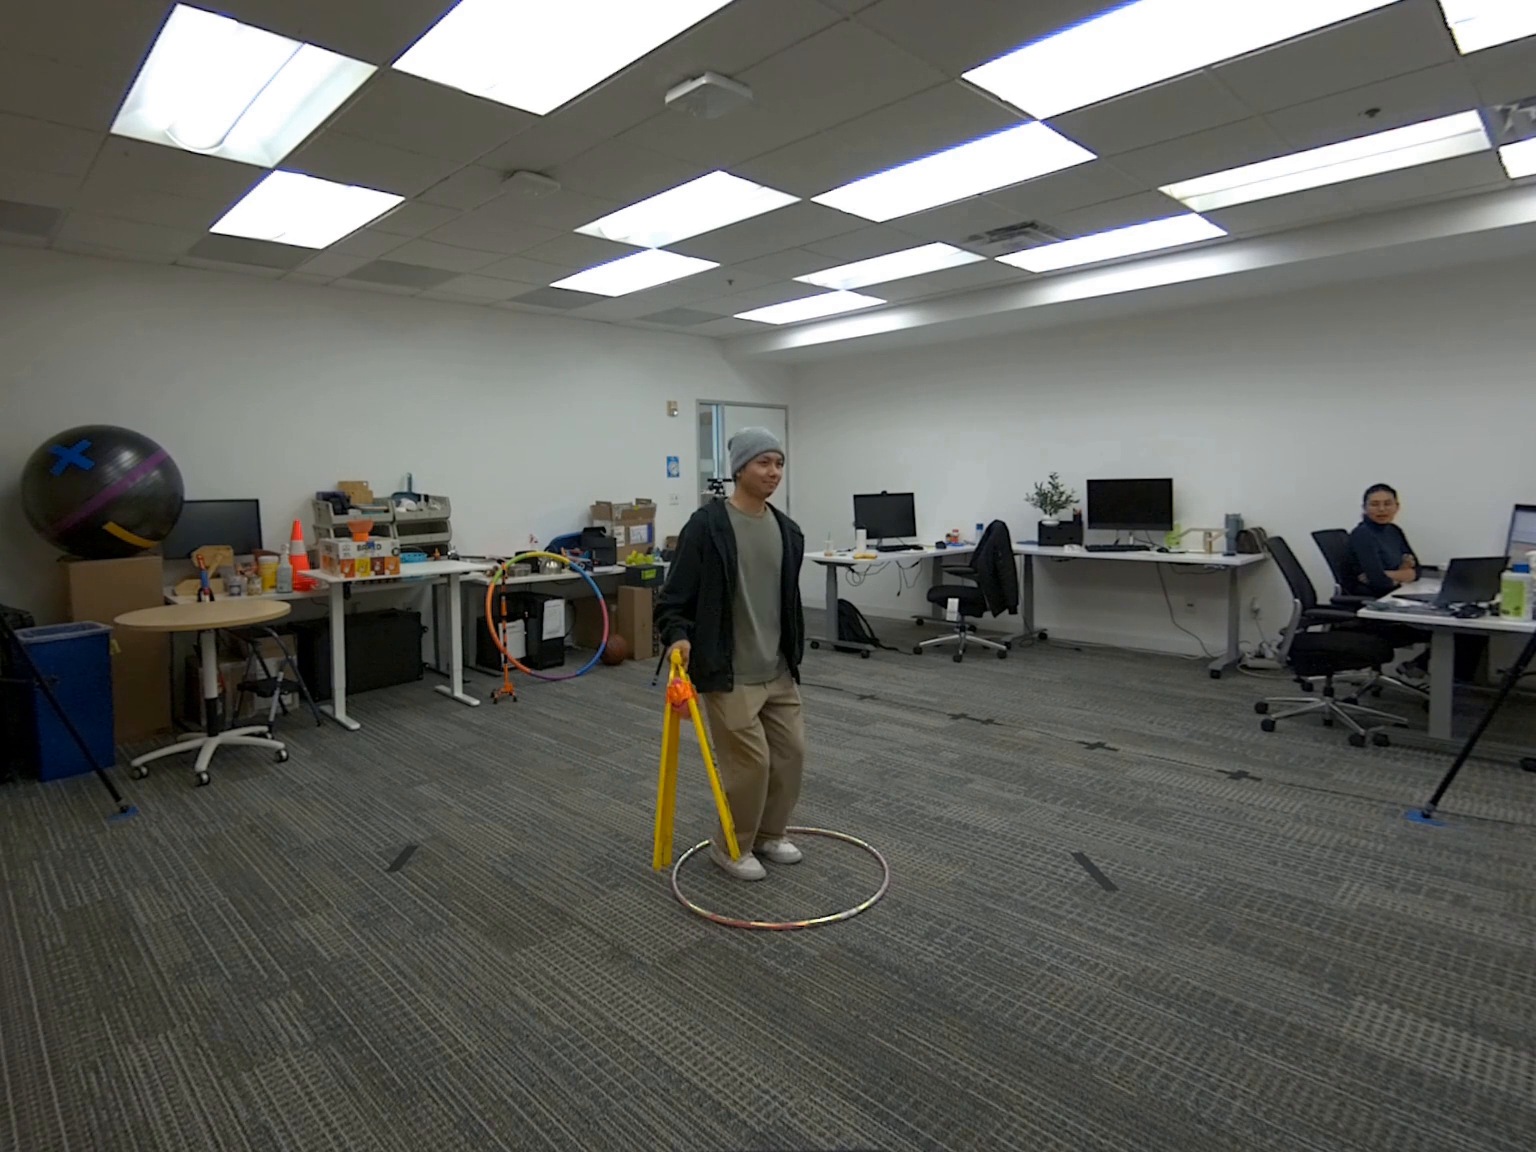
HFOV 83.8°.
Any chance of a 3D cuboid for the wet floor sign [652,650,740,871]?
[{"bbox_3d":[-0.257,0.561,2.716,0.290,0.656,0.278,-7,-15,0],"label":"wet floor sign"}]
